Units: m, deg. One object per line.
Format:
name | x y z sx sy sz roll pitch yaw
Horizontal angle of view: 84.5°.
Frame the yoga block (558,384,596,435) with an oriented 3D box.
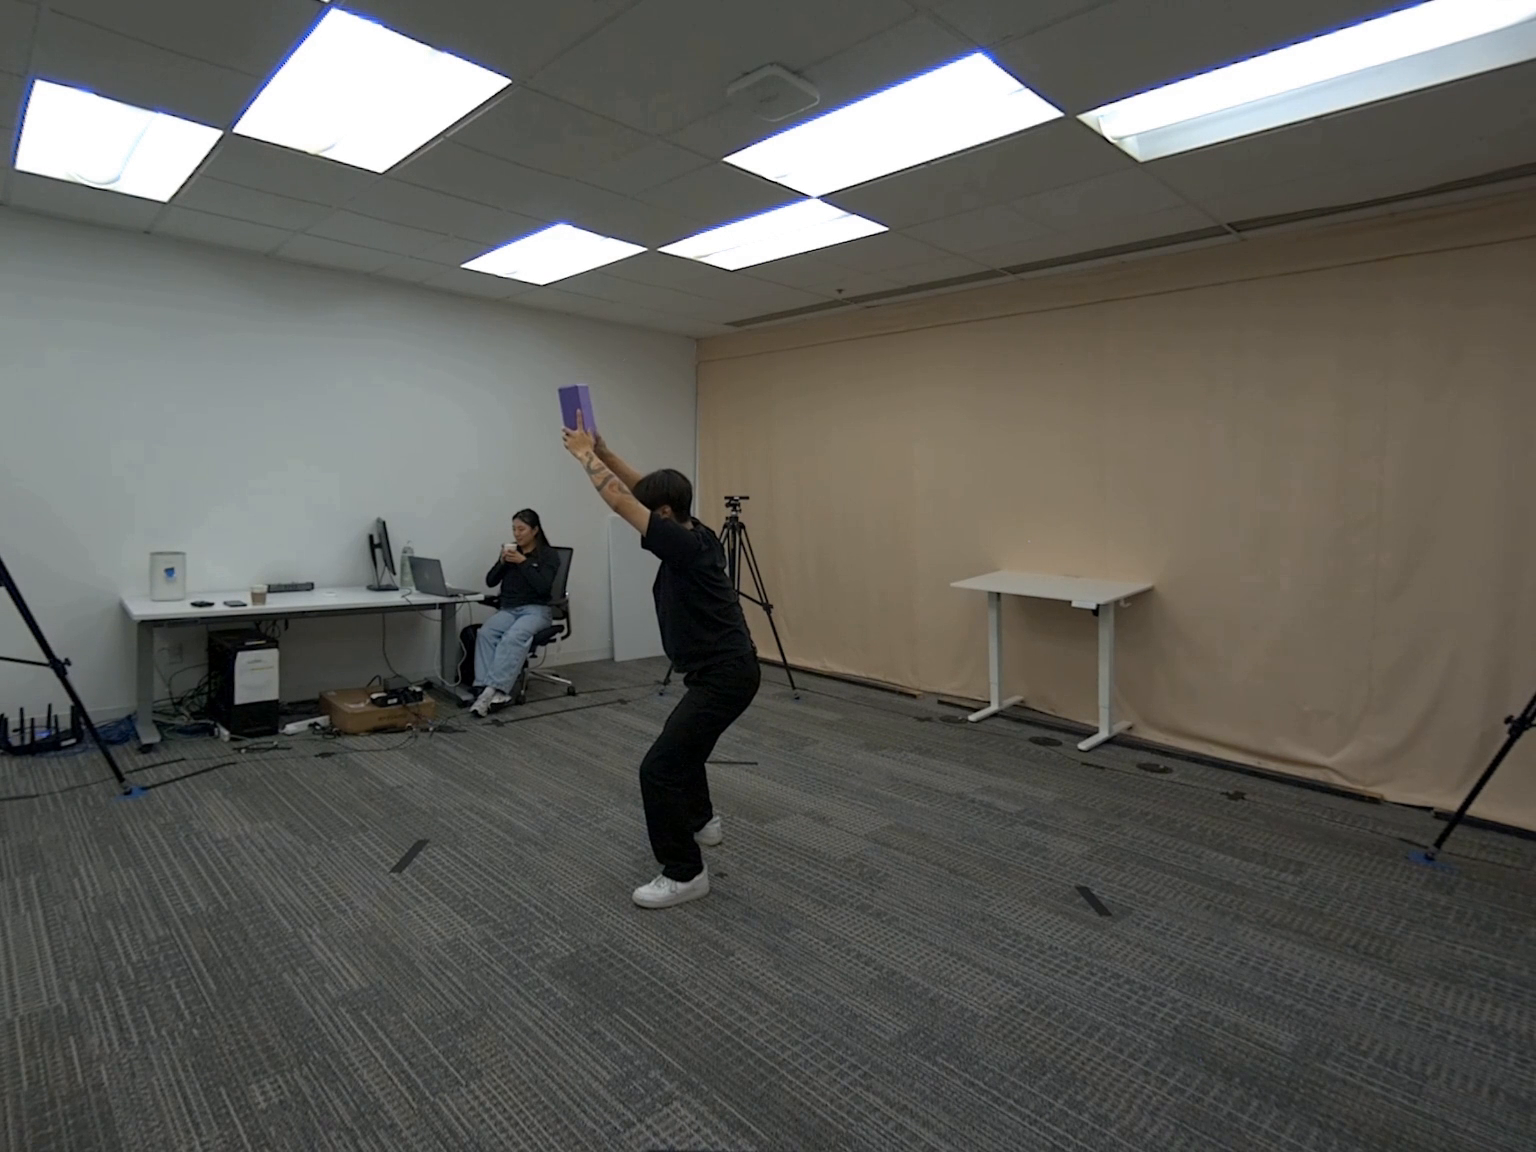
yoga block | -0.709 -0.588 3.078 0.077 0.227 0.149 -7 10 7
